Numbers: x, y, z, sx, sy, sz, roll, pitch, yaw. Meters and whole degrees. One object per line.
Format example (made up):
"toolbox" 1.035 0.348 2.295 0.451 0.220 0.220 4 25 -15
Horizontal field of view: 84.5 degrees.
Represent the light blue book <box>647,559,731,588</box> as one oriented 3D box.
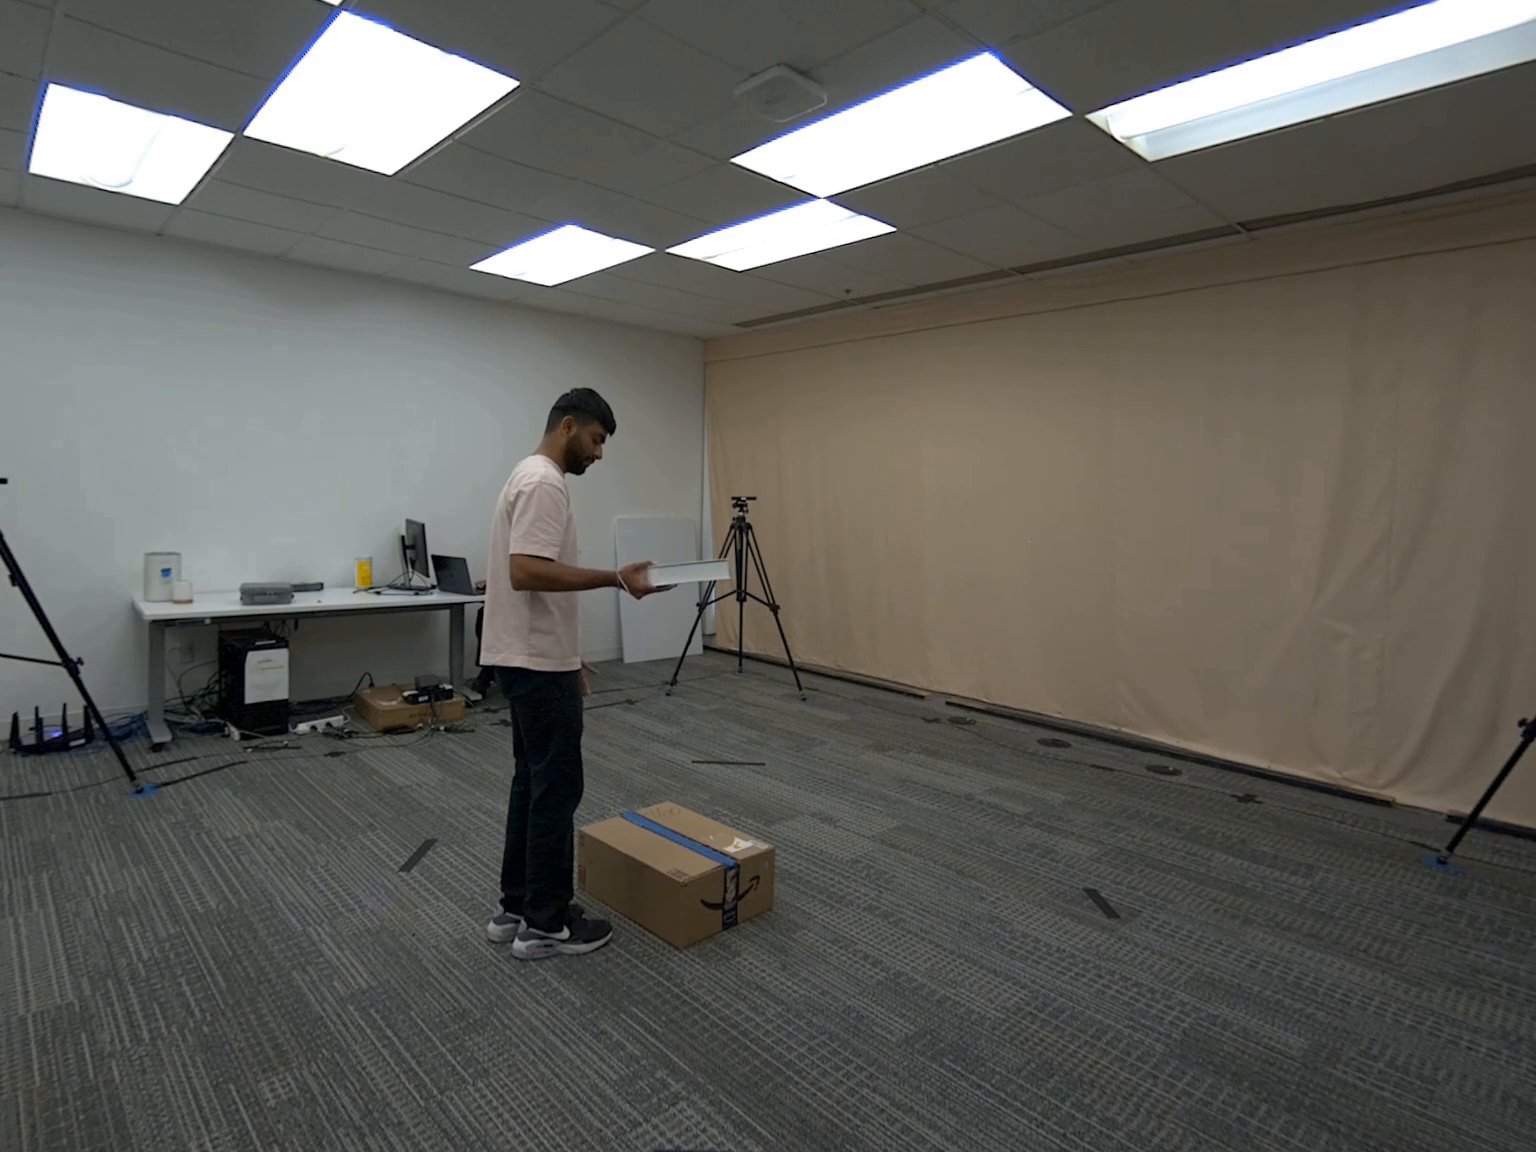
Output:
"light blue book" -0.252 -0.007 2.493 0.188 0.059 0.266 -5 3 -30
